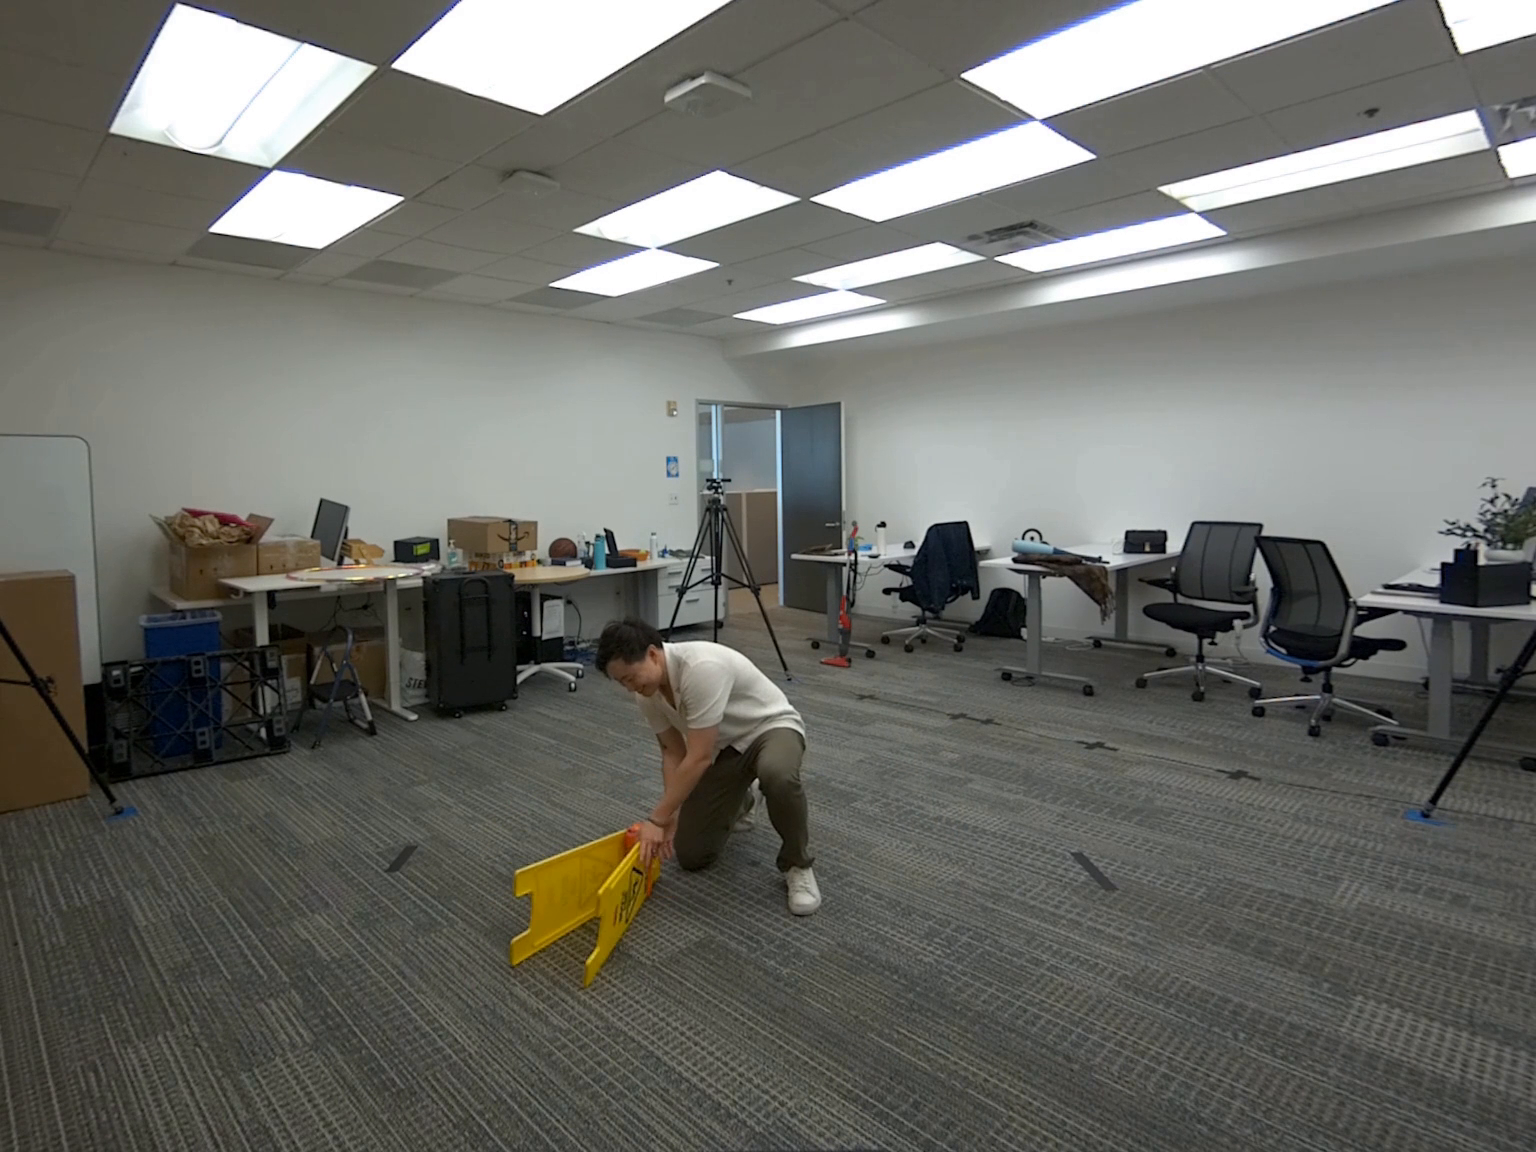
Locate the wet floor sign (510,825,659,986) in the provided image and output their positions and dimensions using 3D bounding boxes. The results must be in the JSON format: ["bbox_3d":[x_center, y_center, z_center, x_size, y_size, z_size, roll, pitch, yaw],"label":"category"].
[{"bbox_3d":[-0.506,0.973,2.706,0.296,0.281,0.634,4,5,21],"label":"wet floor sign"}]
